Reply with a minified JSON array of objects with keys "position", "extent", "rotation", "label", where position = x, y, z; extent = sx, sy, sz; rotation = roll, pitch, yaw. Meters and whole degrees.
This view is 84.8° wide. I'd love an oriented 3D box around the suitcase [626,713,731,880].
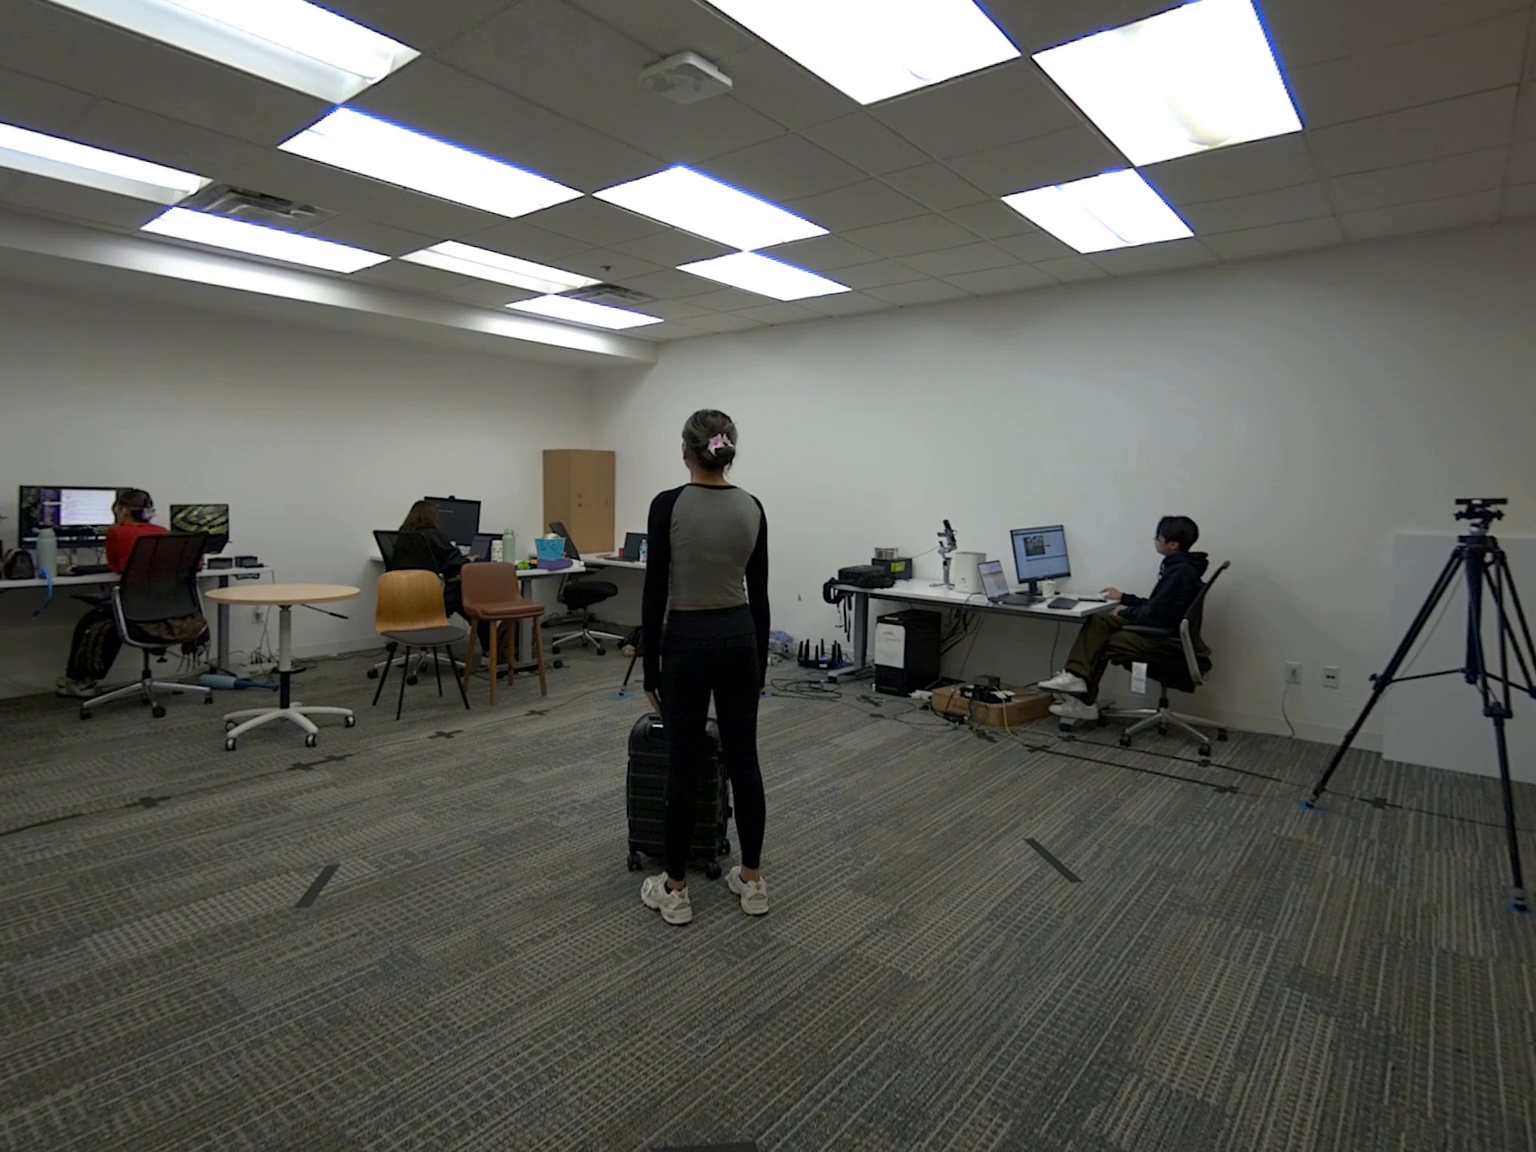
[{"position":[-0.345,0.782,3.185],"extent":[0.380,0.549,0.245],"rotation":[1,1,12],"label":"suitcase"}]
